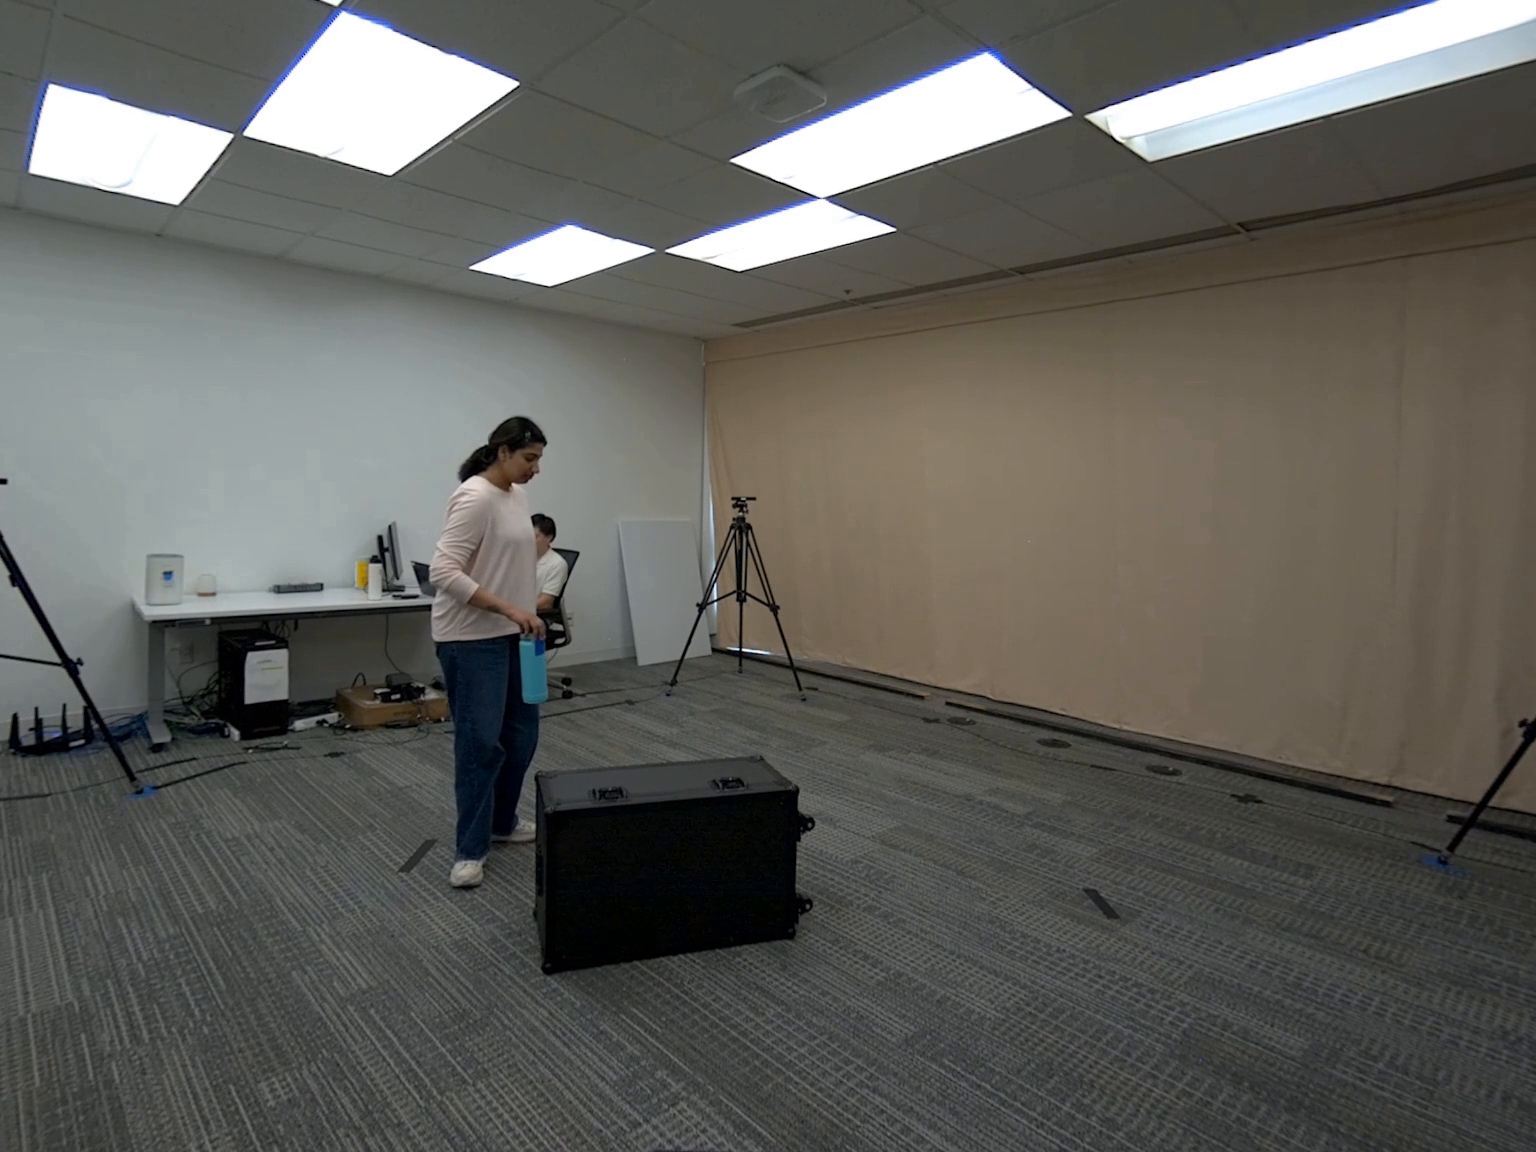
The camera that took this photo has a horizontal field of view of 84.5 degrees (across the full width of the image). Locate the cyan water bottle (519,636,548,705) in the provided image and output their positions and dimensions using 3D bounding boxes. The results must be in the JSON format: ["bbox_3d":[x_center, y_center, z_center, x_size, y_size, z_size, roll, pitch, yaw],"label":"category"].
[{"bbox_3d":[-0.860,0.309,3.015,0.092,0.282,0.093,1,5,-2],"label":"cyan water bottle"}]
